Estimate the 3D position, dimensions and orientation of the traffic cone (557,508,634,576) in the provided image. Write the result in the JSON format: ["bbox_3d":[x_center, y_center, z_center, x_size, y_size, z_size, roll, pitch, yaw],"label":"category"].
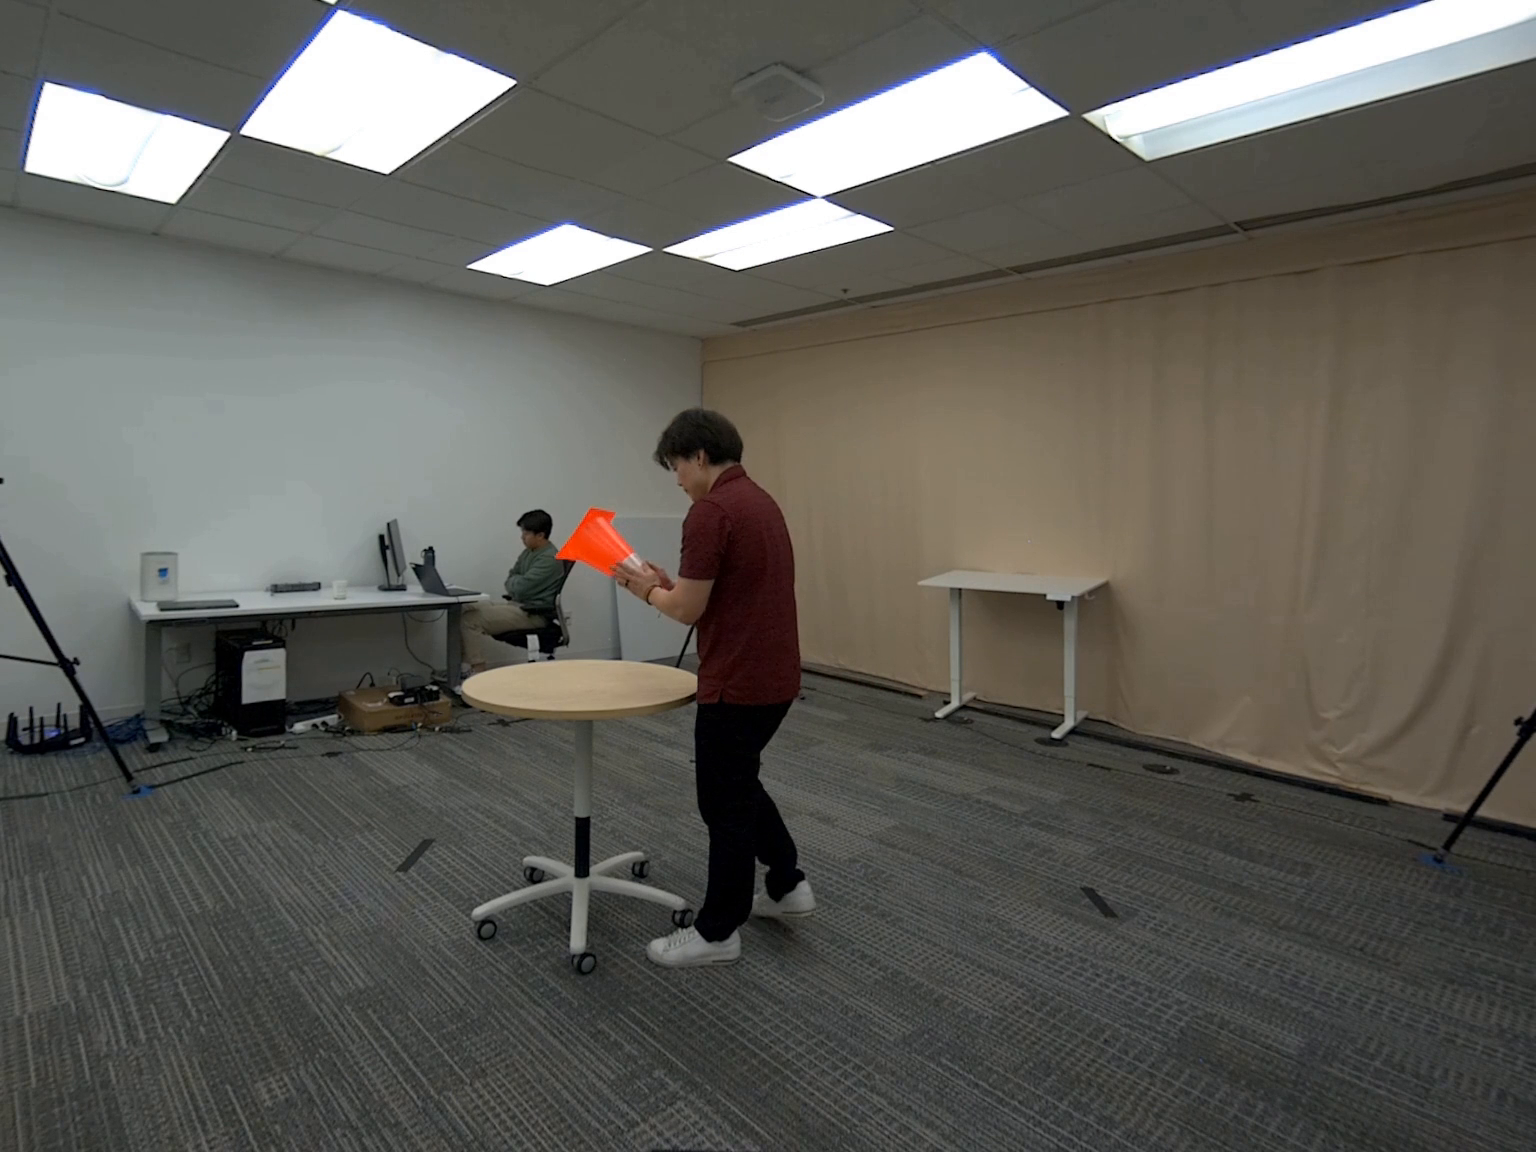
[{"bbox_3d":[-0.432,-0.013,2.639,0.389,0.204,0.201,37,12,13],"label":"traffic cone"}]
